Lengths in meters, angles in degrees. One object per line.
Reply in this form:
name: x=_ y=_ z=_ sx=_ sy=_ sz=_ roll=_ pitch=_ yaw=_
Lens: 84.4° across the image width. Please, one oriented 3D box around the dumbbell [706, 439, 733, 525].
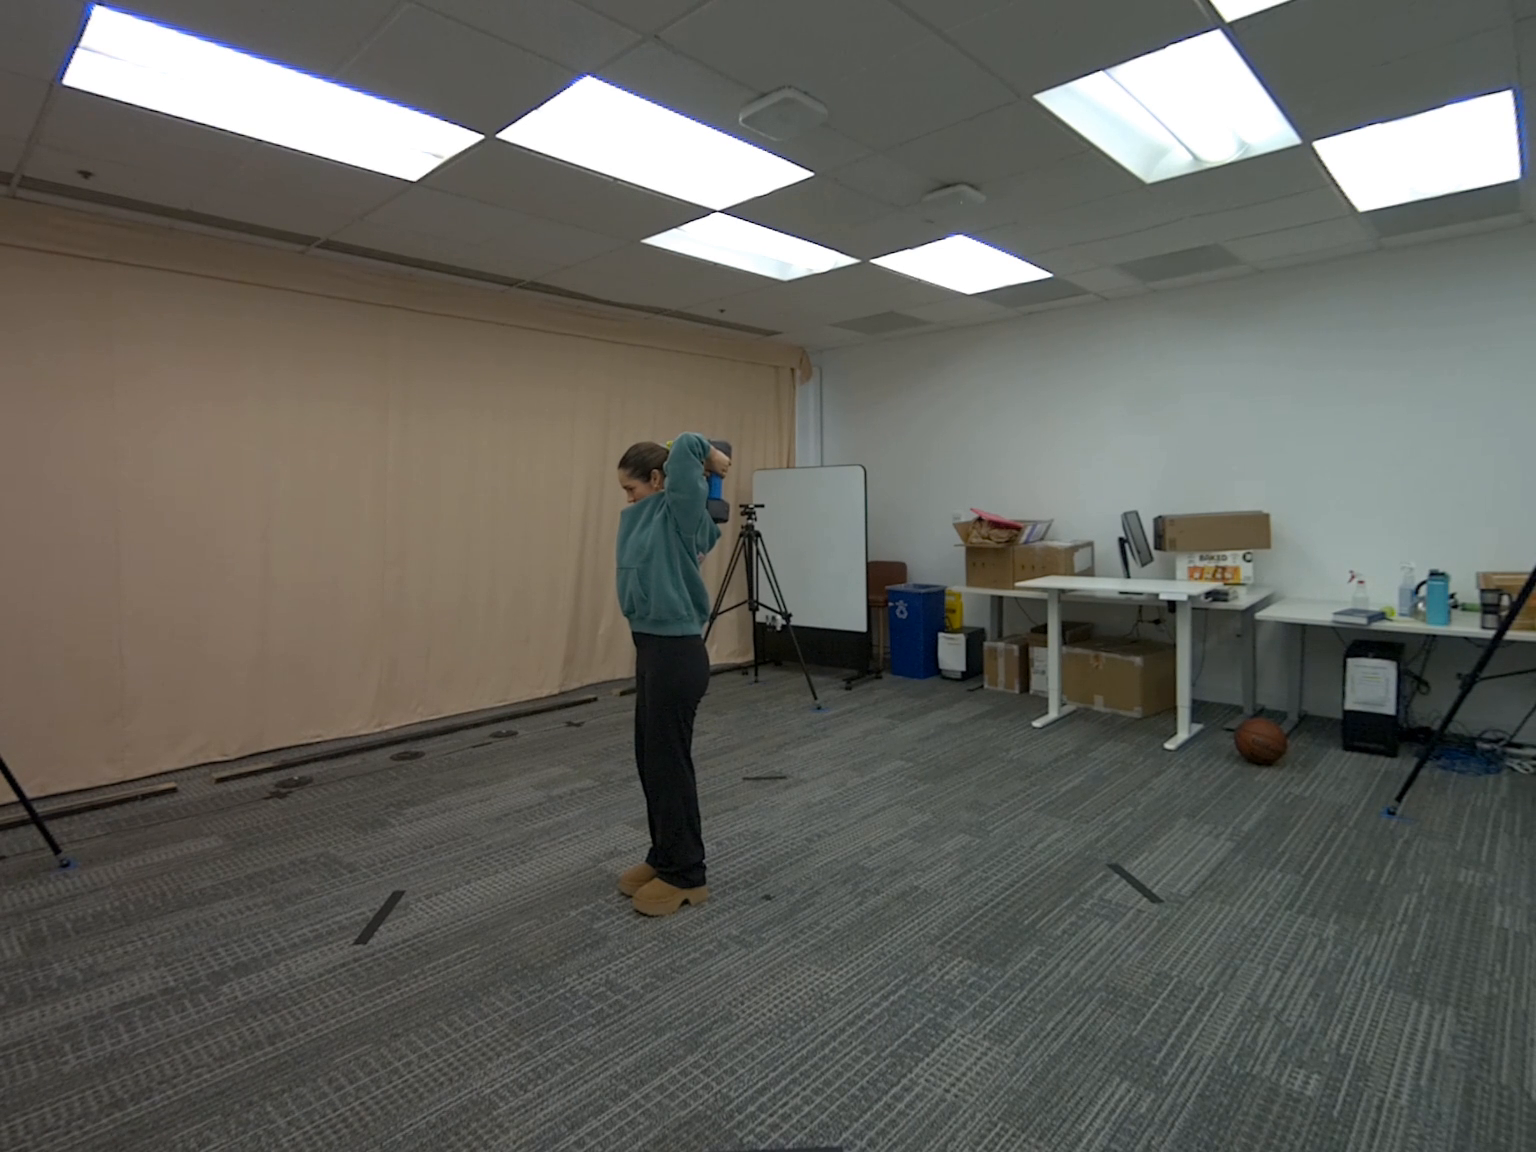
dumbbell: x=-0.195 y=-0.337 z=3.011 sx=0.121 sy=0.294 sz=0.110 roll=3 pitch=-5 yaw=-12
